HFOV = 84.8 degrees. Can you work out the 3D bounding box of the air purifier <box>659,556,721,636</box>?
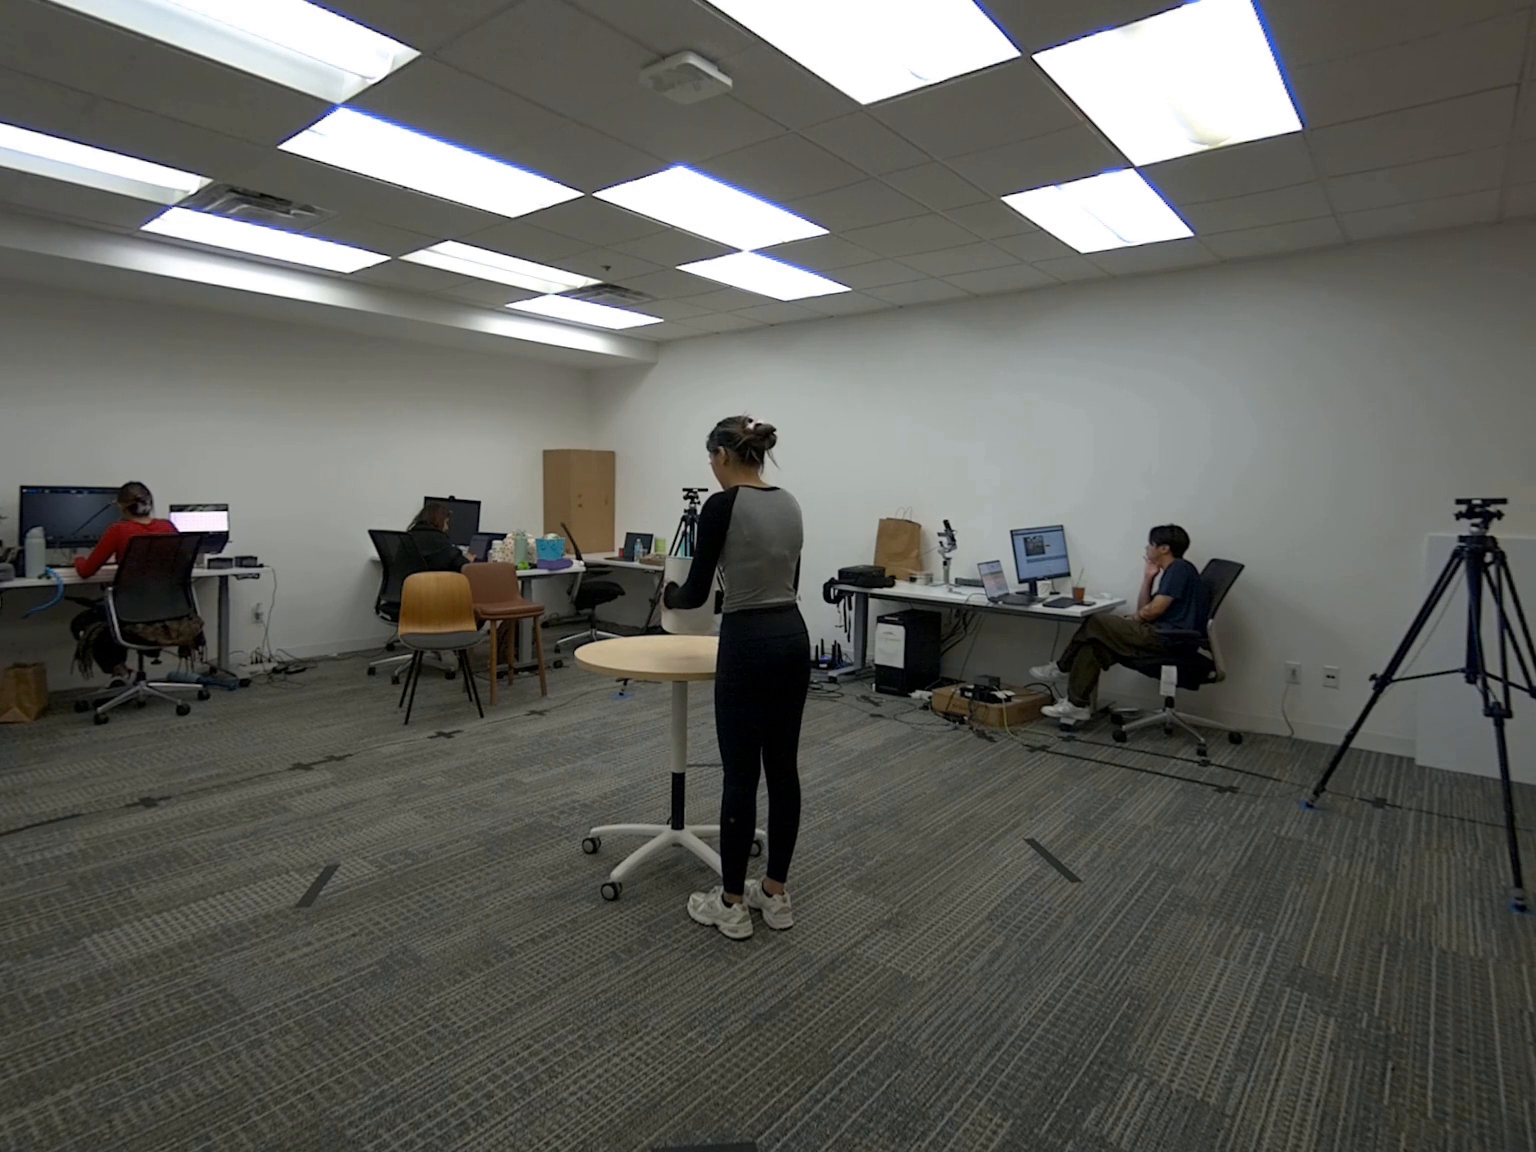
[{"bbox_3d":[-0.289,0.068,3.010,0.170,0.265,0.173,4,0,-8],"label":"air purifier"}]
